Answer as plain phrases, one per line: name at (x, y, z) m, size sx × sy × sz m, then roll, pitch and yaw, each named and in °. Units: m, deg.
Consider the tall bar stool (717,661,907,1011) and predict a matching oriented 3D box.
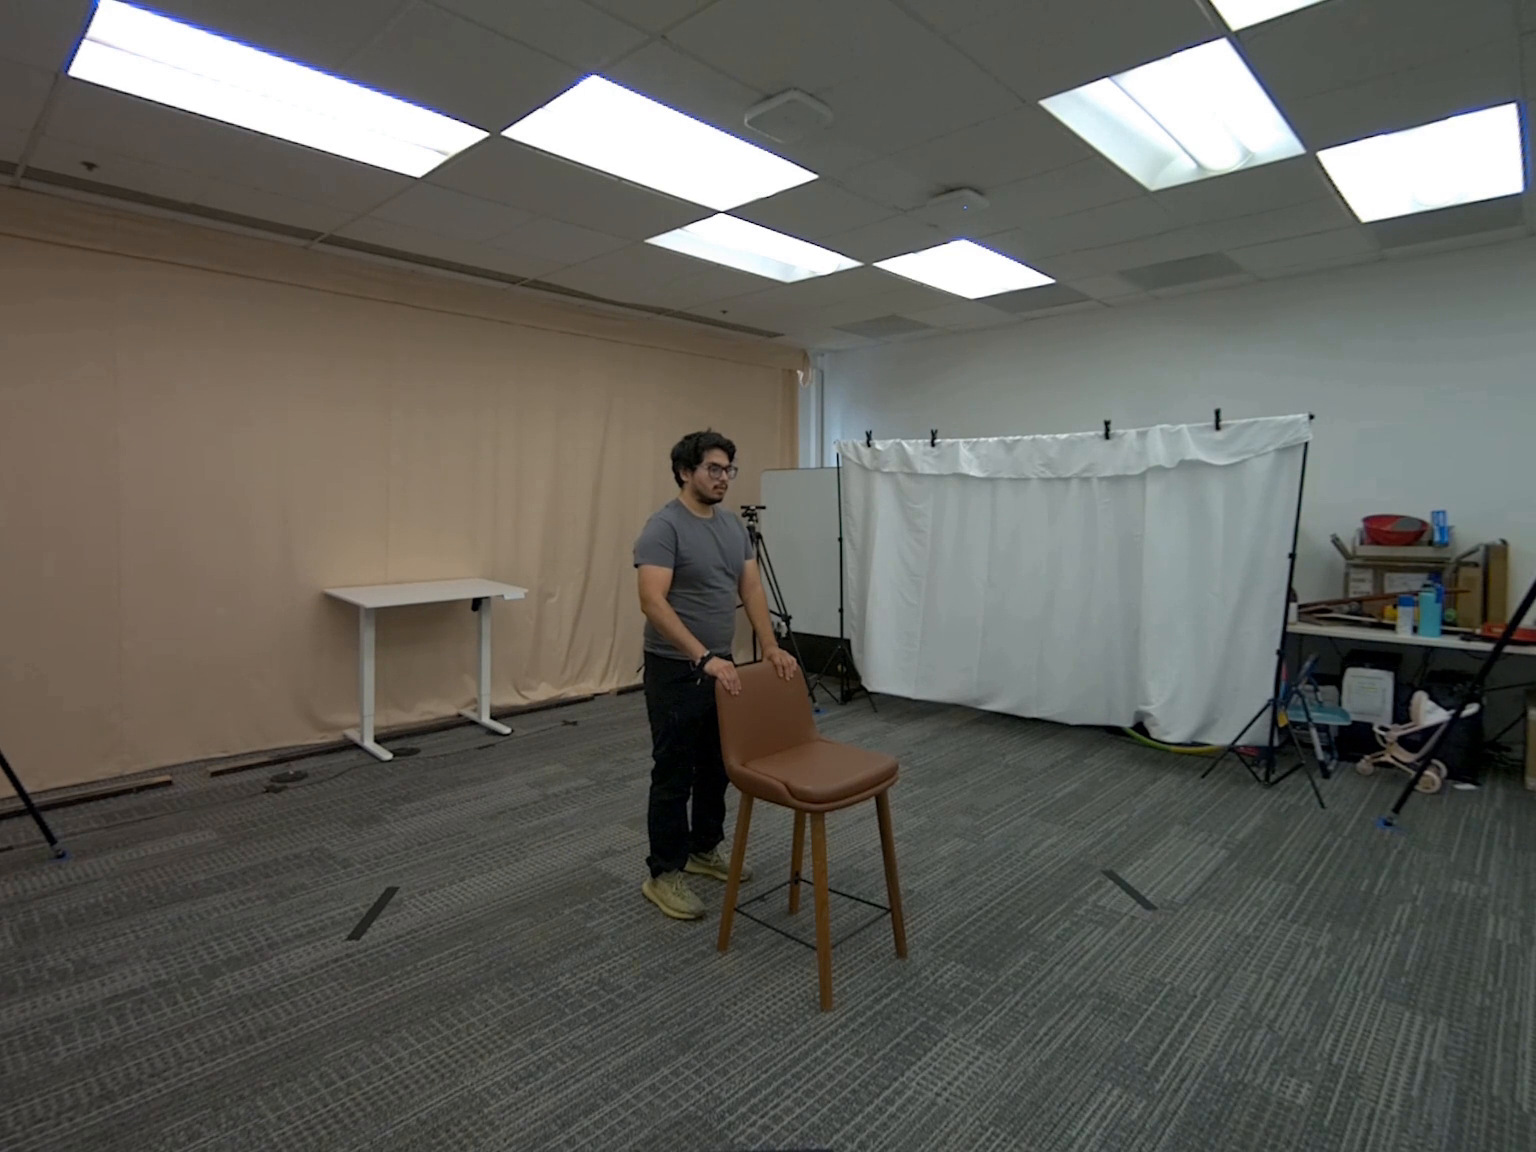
tall bar stool at (0.127, 0.739, 2.597) m, size 0.483 × 0.888 × 0.442 m, roll 1°, pitch 3°, yaw 44°
